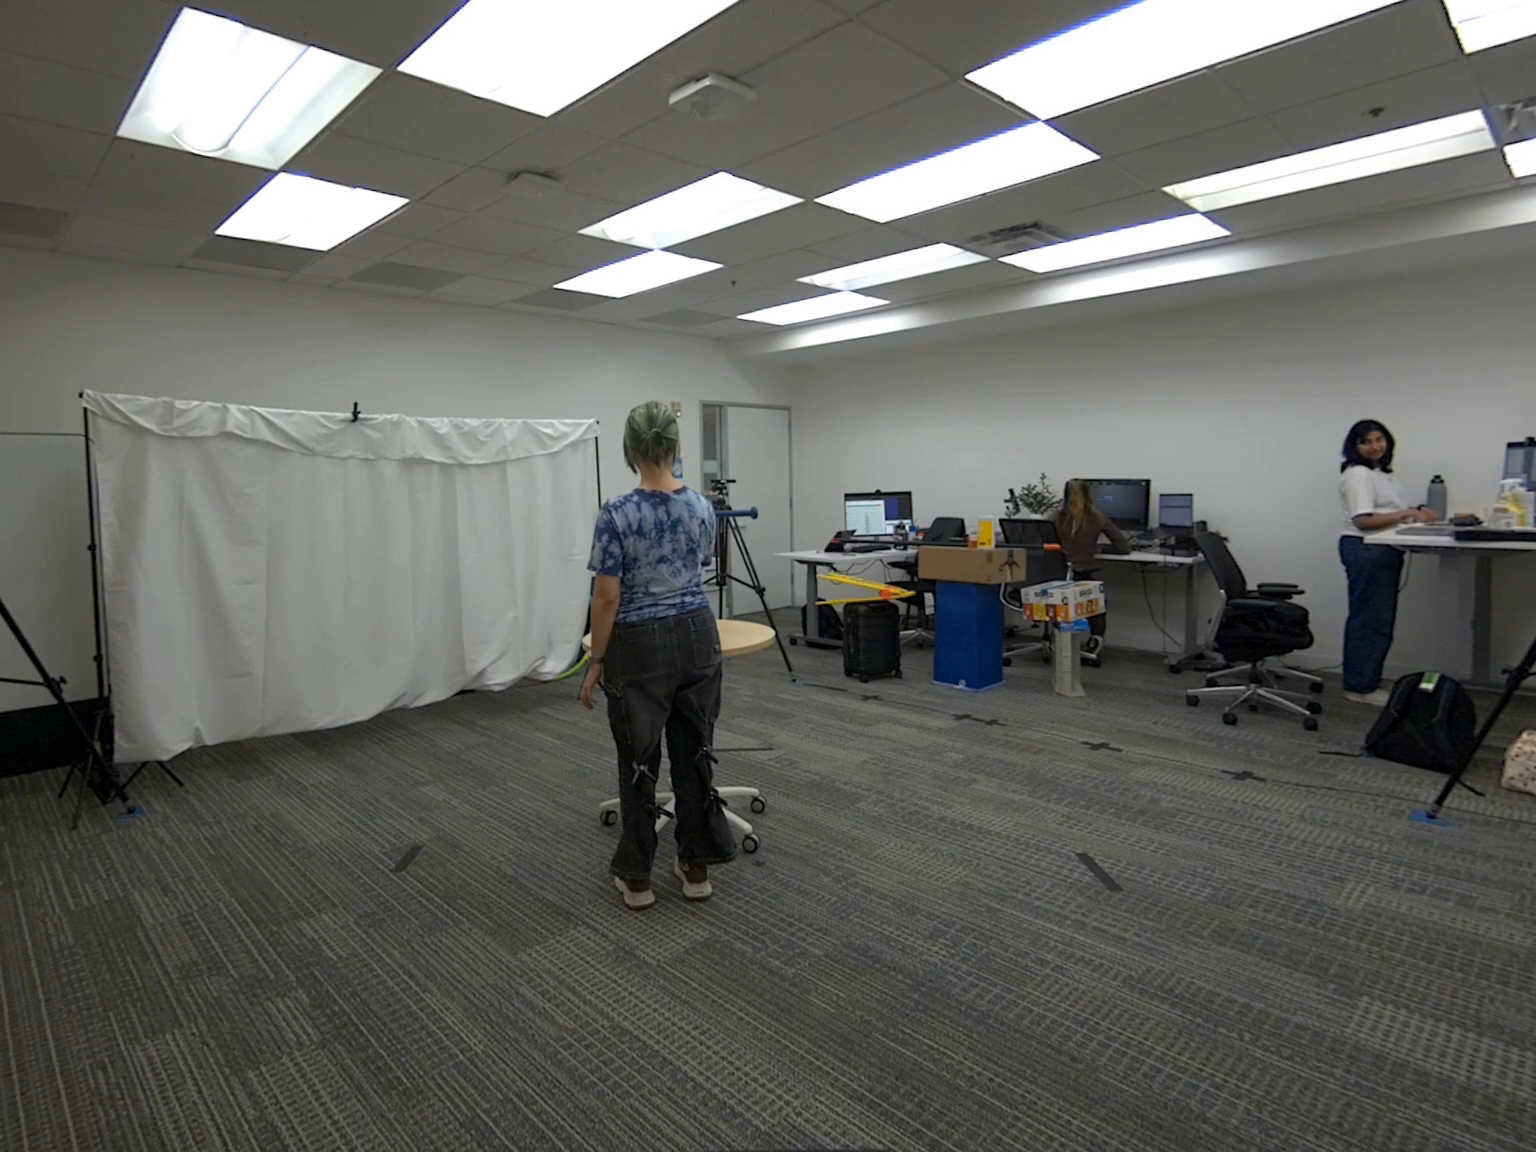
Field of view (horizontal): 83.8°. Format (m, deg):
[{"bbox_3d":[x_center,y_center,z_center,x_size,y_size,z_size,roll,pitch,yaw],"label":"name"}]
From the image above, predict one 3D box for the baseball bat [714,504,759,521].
[{"bbox_3d":[-0.319,-0.239,3.314,0.540,0.089,0.090,0,5,-5],"label":"baseball bat"}]
